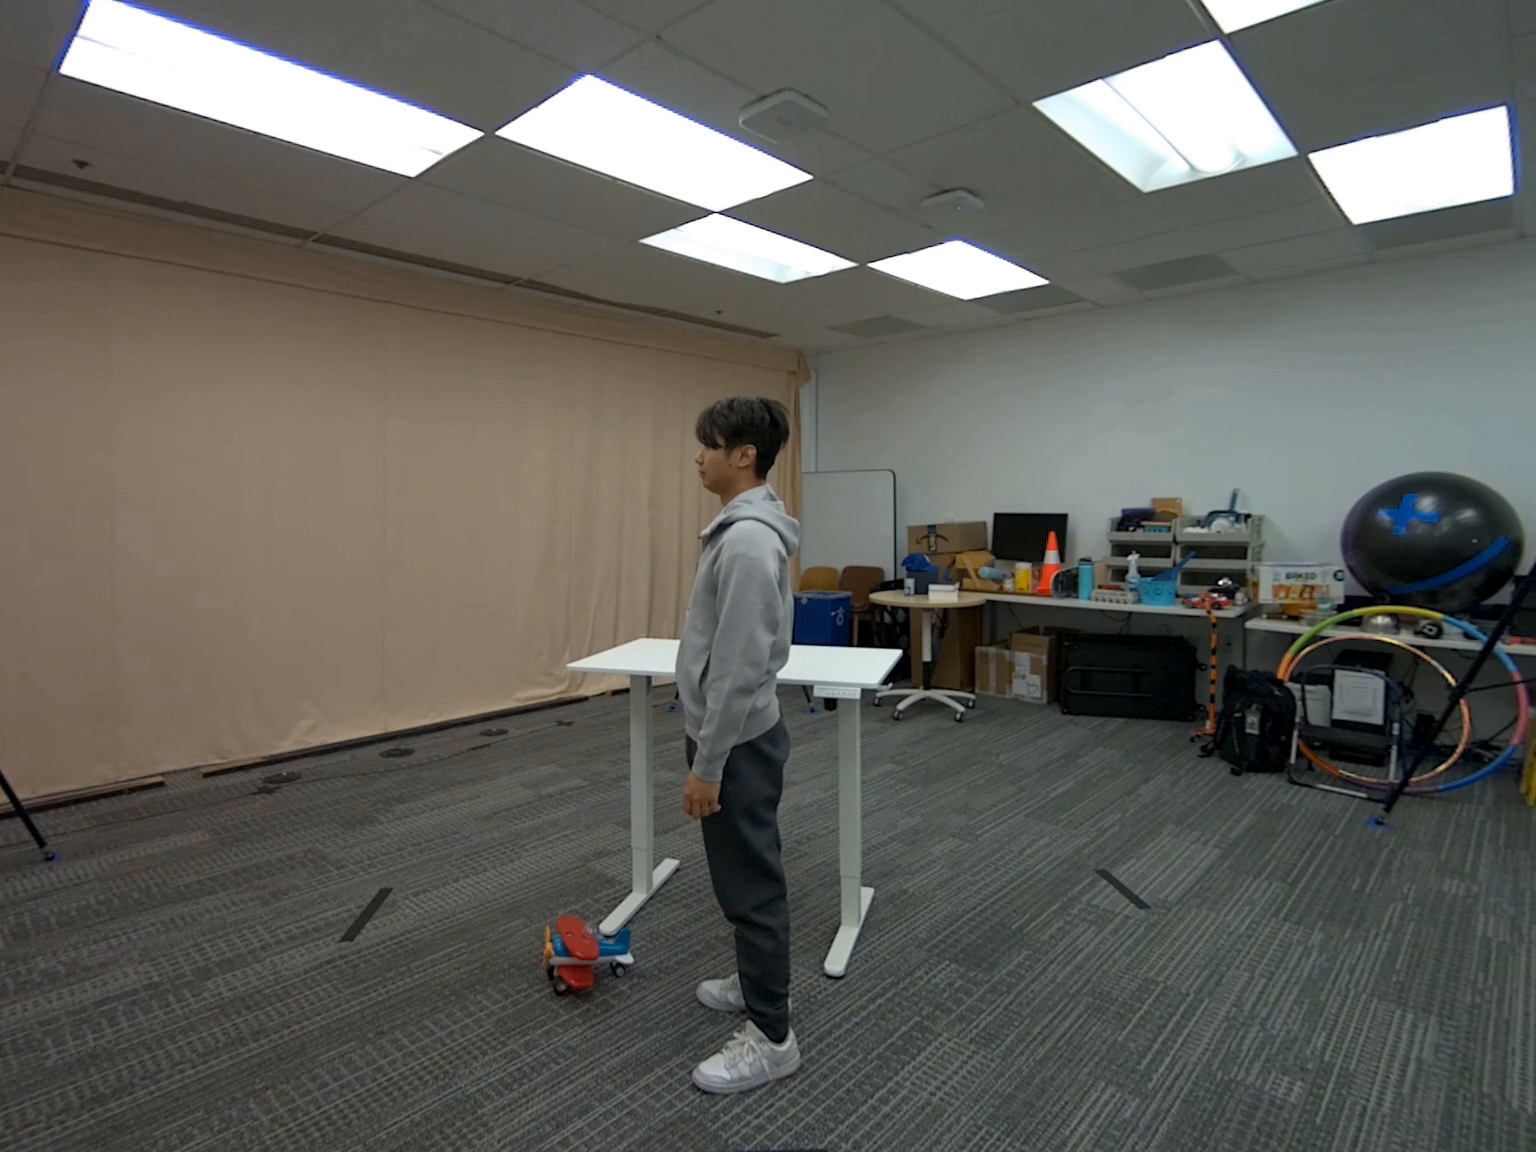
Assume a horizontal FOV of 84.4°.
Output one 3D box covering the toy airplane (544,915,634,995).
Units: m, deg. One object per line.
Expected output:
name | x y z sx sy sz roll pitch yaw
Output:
toy airplane | -0.543 1.112 2.492 0.259 0.156 0.252 4 7 37
